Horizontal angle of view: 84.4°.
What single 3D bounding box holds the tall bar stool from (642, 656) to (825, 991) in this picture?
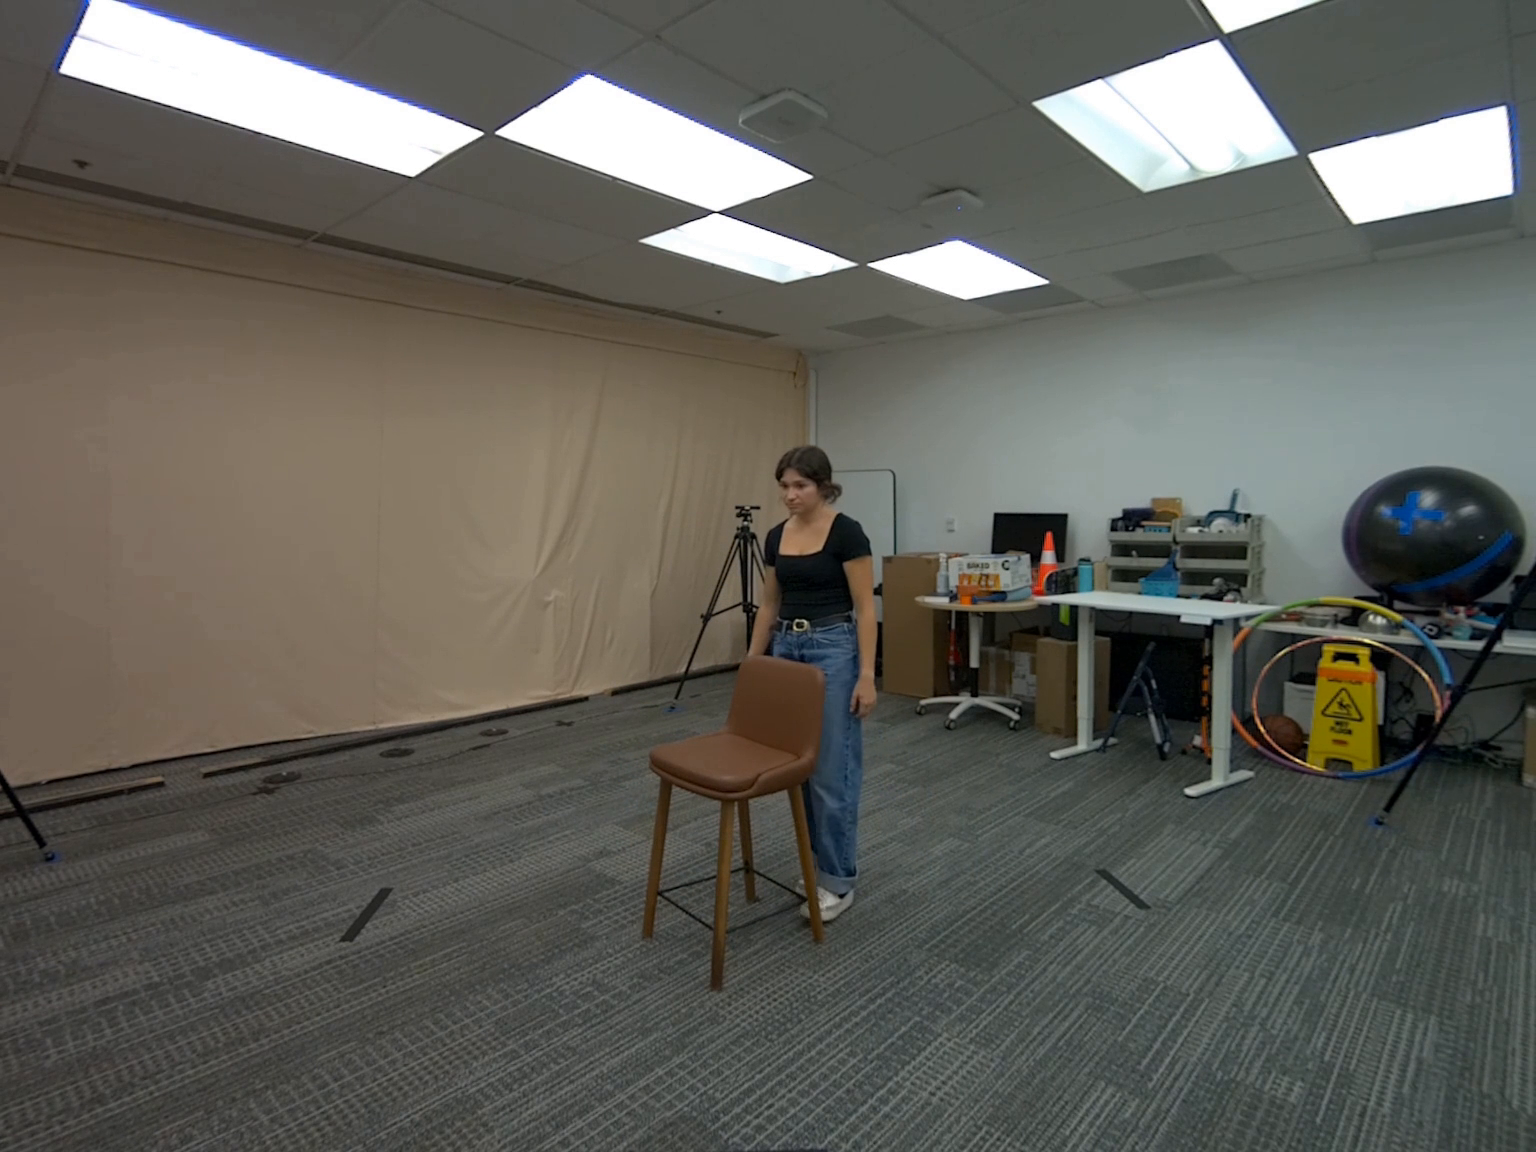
[{"bbox_3d":[-0.102,0.737,2.687,0.453,0.888,0.471,0,3,-38],"label":"tall bar stool"}]
